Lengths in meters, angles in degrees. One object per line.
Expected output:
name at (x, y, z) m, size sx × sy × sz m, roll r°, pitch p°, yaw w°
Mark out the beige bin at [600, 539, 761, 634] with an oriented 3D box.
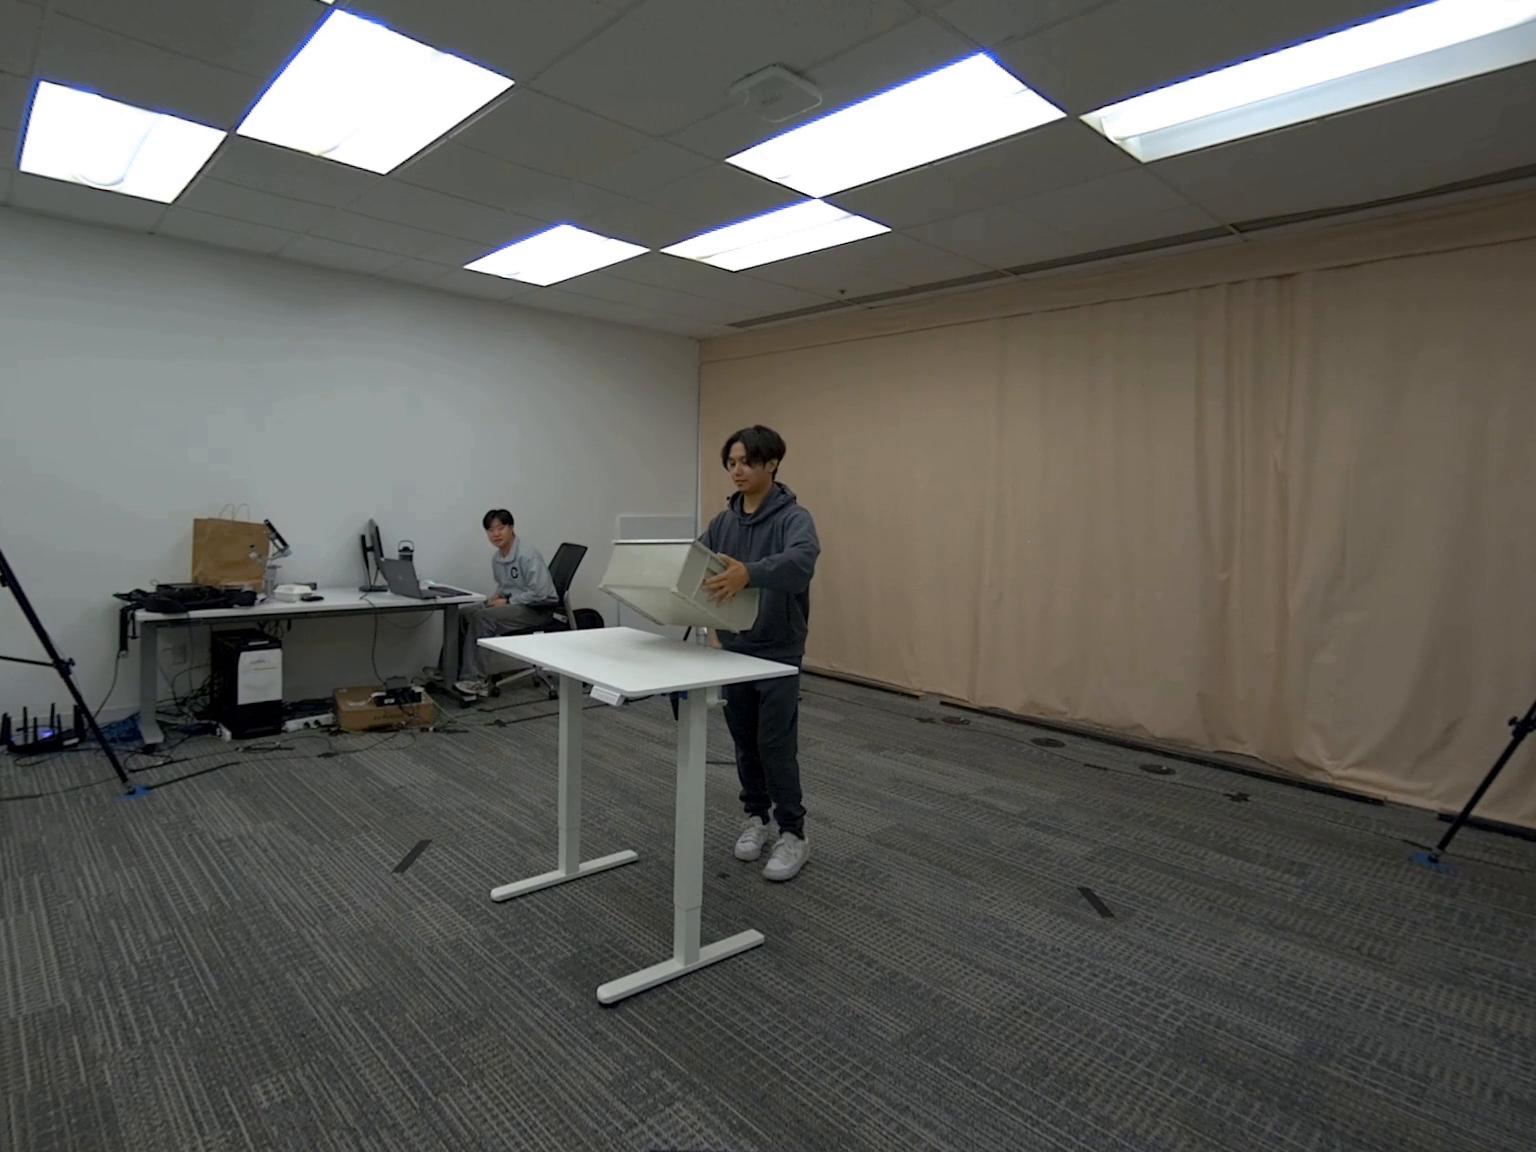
beige bin at (-0.308, 0.046, 2.861) m, size 0.432 × 0.190 × 0.365 m, roll 1°, pitch -24°, yaw 44°
